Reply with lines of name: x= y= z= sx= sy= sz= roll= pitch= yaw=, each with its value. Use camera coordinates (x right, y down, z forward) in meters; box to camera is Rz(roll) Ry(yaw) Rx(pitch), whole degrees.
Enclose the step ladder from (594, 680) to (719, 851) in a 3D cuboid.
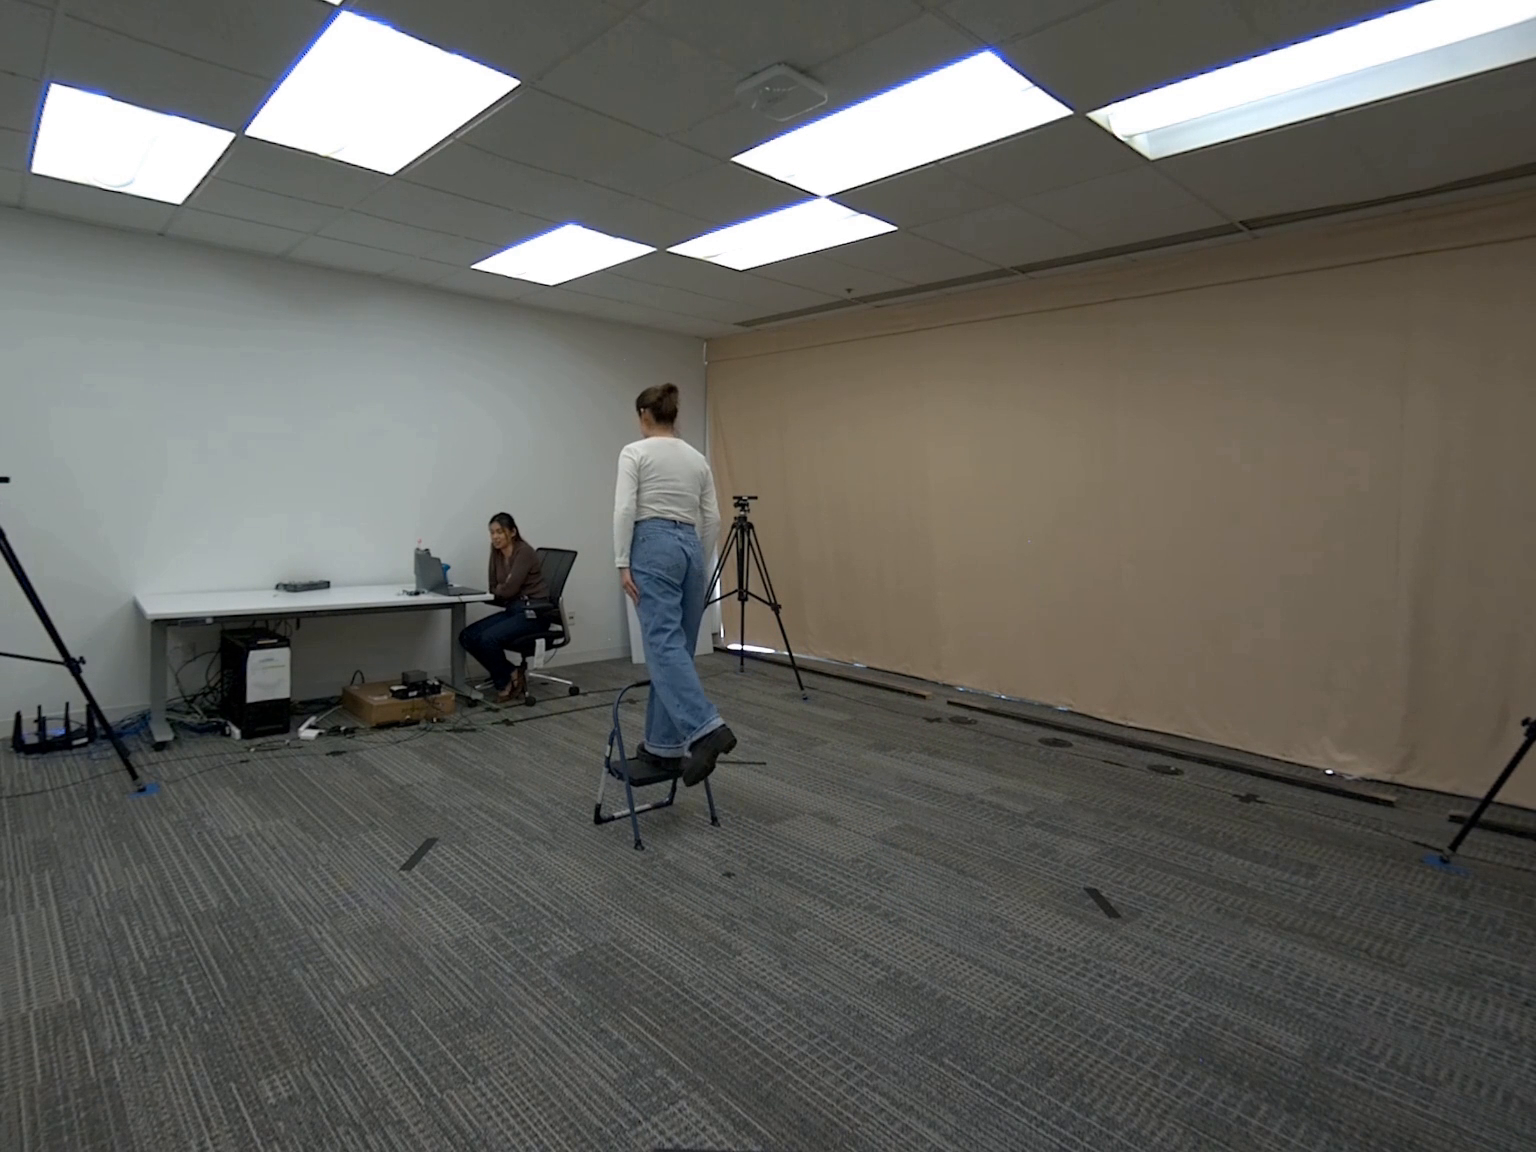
step ladder: x=-0.473 y=0.754 z=3.552 sx=0.420 sy=0.605 sz=0.358 roll=-1 pitch=4 yaw=-44
